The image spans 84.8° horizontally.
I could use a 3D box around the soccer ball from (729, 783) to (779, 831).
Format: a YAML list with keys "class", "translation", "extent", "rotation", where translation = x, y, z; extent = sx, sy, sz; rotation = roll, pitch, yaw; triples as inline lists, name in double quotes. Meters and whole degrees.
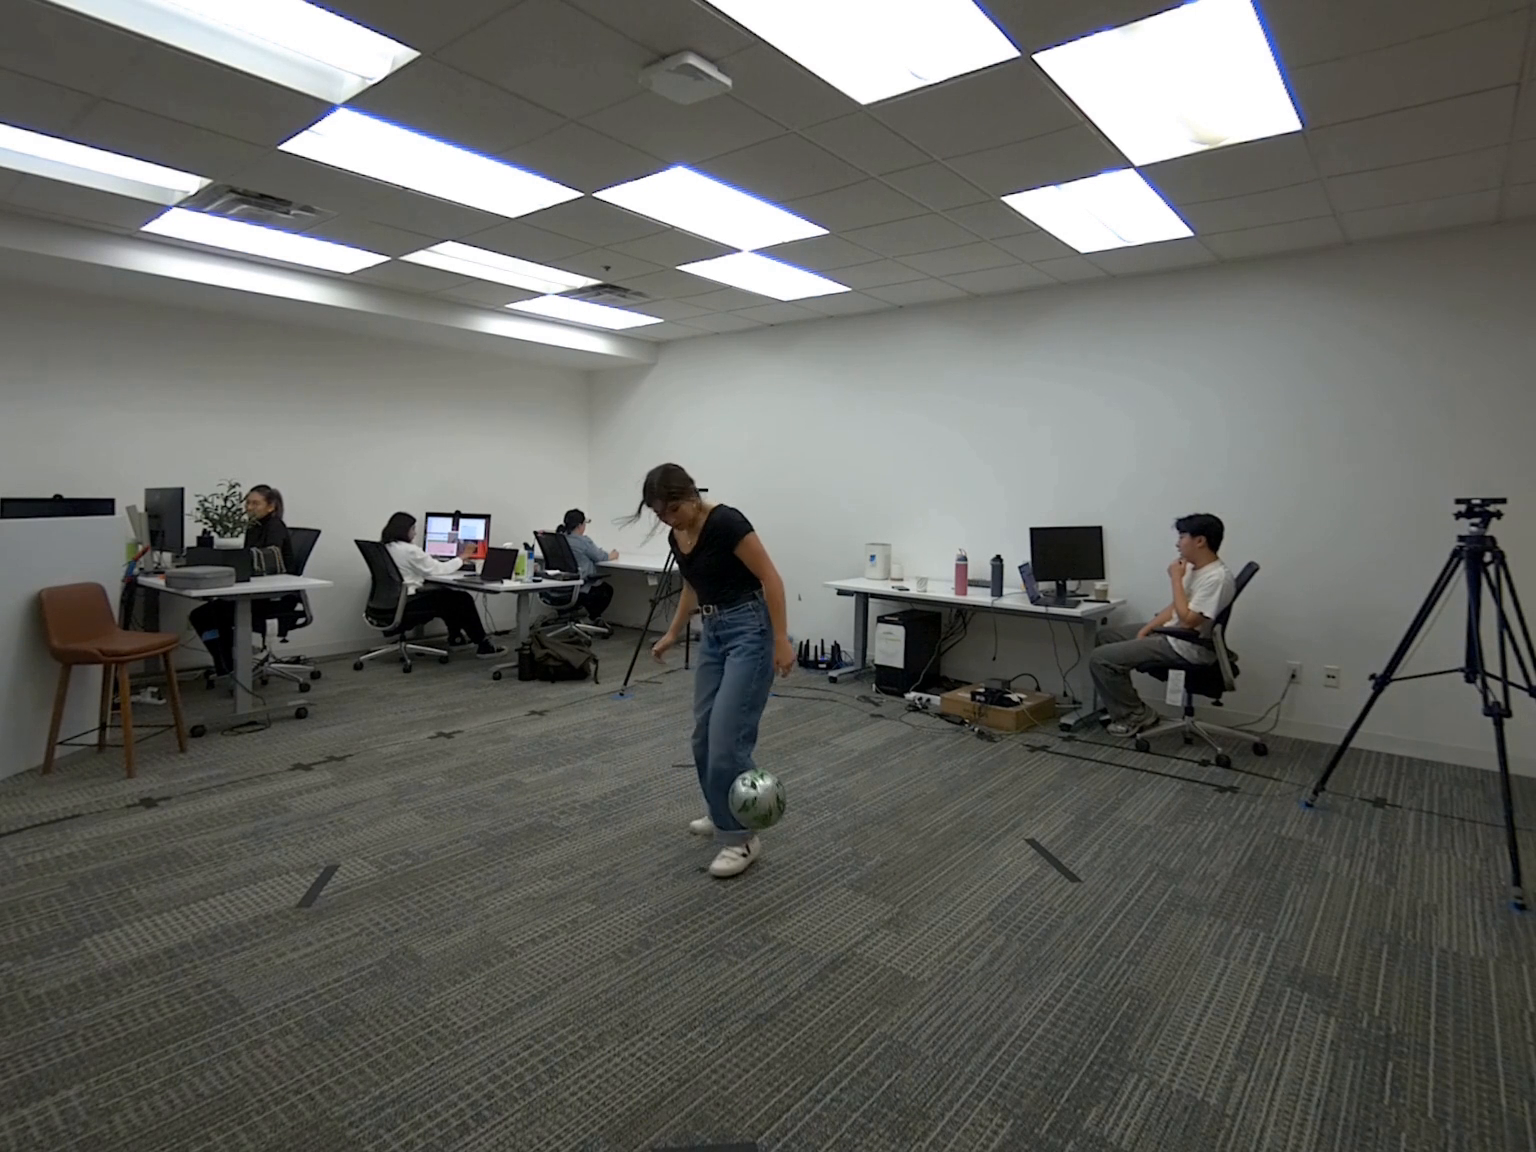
- class: "soccer ball"
  translation: [-0.094, 0.853, 2.829]
  extent: [0.187, 0.187, 0.188]
  rotation: [1, 4, -2]
